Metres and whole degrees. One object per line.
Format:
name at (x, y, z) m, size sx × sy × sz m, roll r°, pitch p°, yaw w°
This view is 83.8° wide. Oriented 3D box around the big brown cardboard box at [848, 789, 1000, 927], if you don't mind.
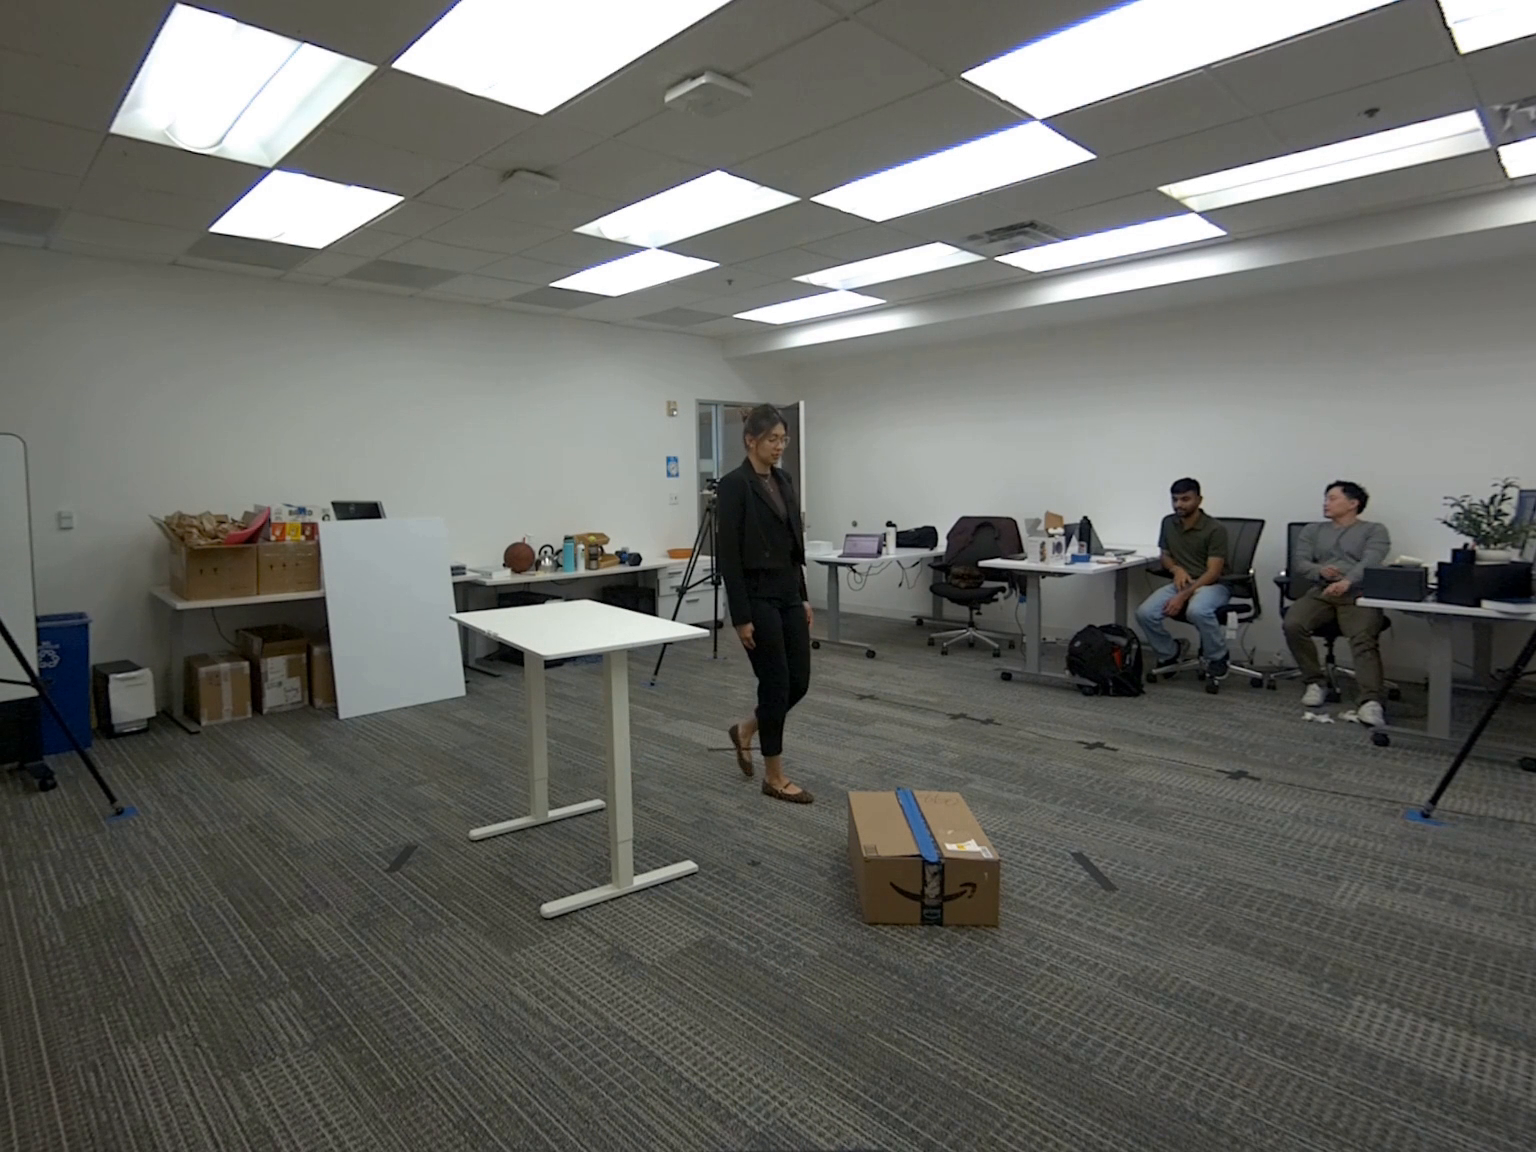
big brown cardboard box at (0.510, 0.943, 2.921) m, size 0.418 × 0.232 × 0.590 m, roll -1°, pitch 5°, yaw 0°
